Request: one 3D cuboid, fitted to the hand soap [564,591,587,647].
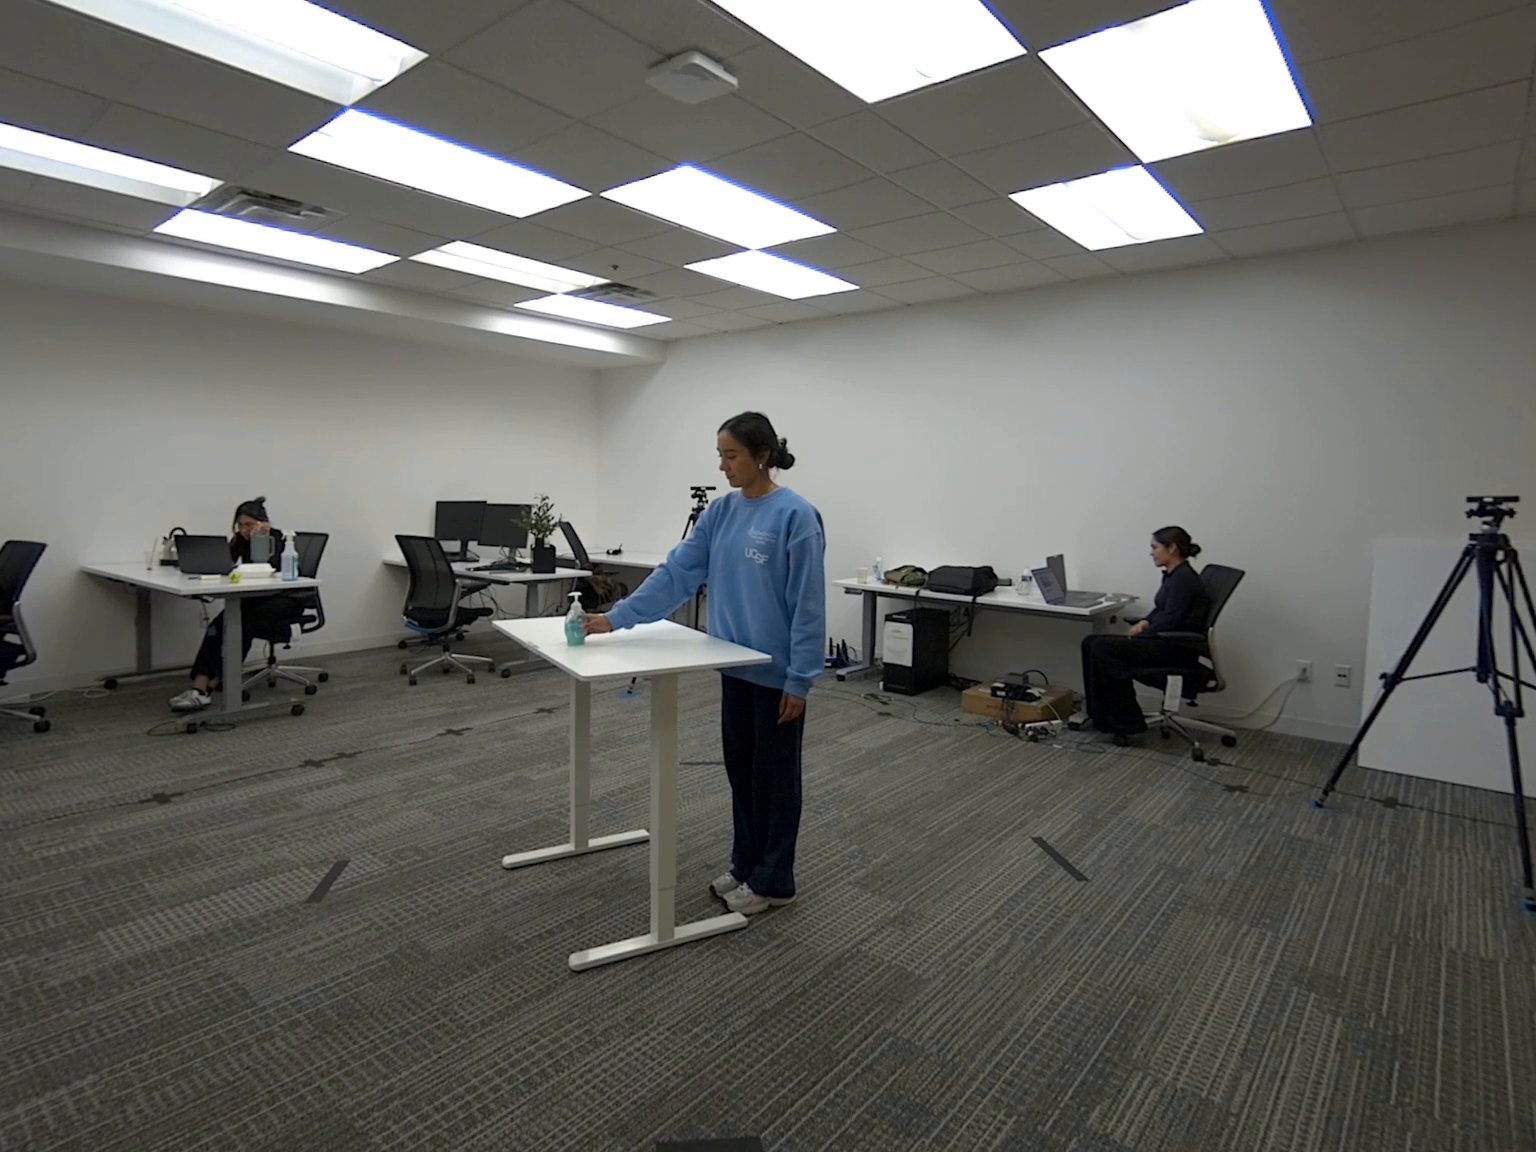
[{"bbox_3d":[-0.626,0.134,2.709,0.045,0.168,0.082,2,2,37],"label":"hand soap"}]
